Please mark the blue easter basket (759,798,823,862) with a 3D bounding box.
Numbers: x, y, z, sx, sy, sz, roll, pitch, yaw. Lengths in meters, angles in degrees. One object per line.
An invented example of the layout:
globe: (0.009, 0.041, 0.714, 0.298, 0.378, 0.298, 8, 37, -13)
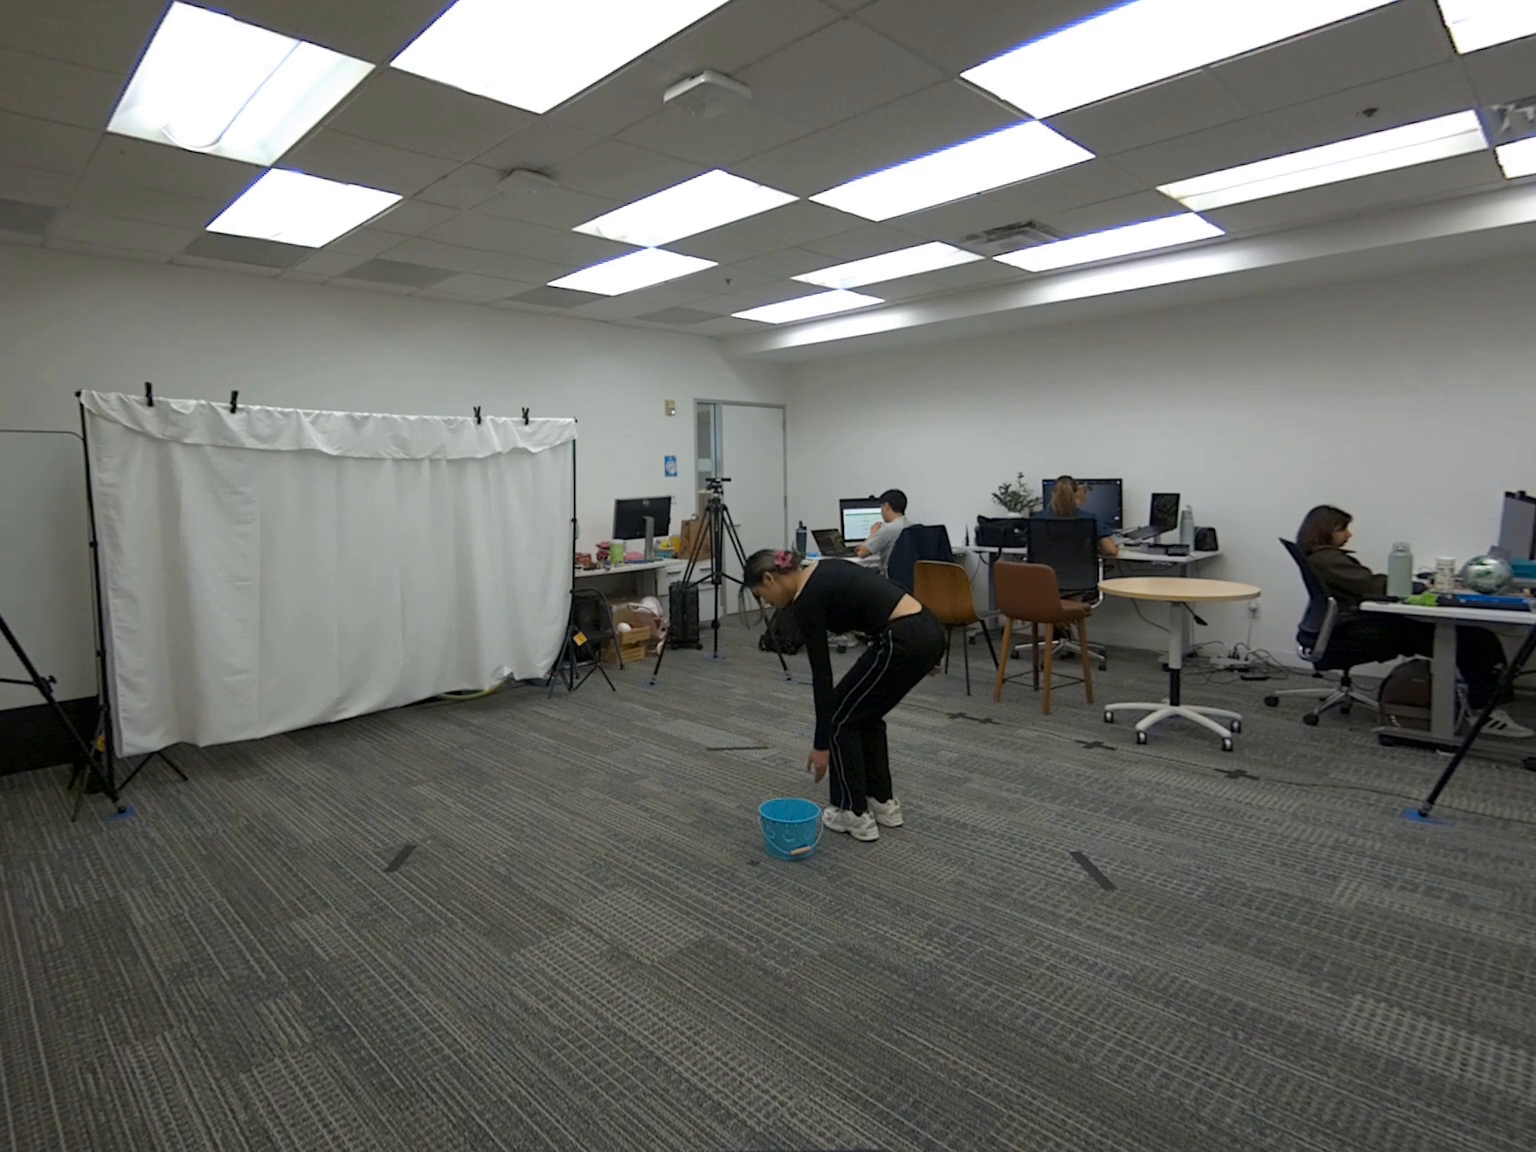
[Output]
blue easter basket: (0.081, 0.949, 3.209, 0.243, 0.155, 0.245, 0, 5, -2)
